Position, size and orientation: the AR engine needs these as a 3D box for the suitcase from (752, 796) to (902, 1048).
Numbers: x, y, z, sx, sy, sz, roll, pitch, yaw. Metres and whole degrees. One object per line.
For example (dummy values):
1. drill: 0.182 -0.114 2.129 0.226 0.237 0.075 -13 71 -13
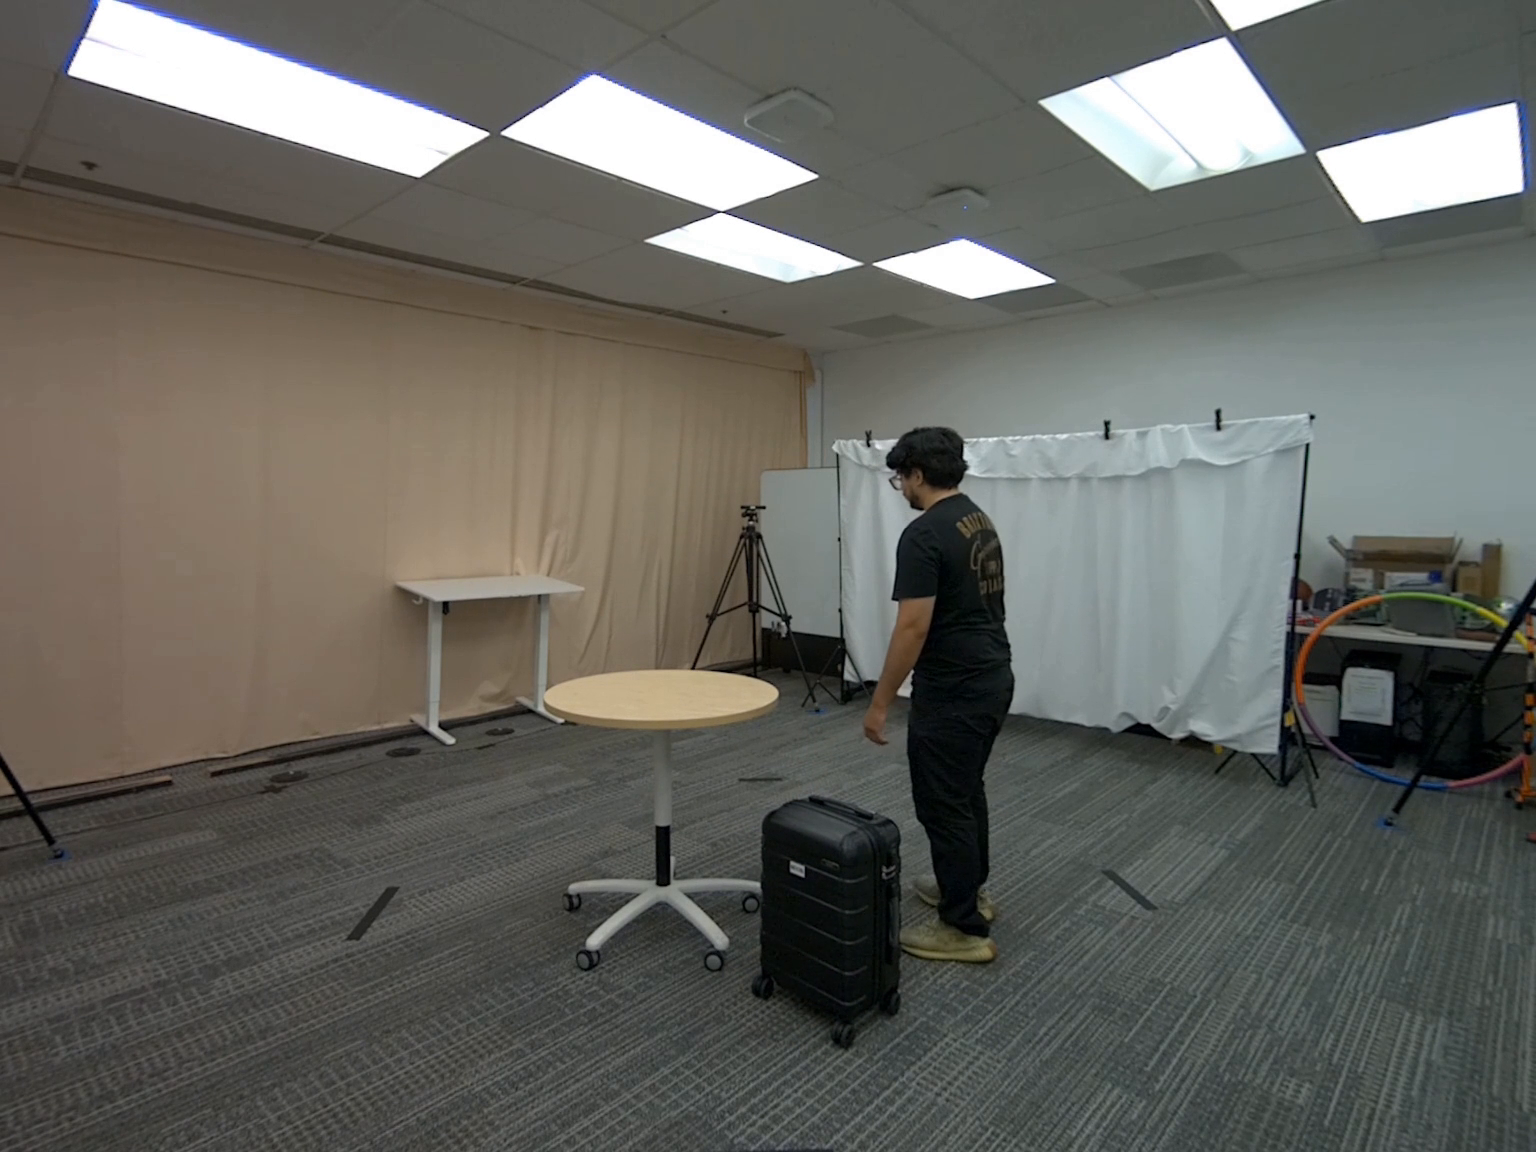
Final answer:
1. suitcase: 0.177 0.921 2.343 0.388 0.548 0.240 4 3 45
